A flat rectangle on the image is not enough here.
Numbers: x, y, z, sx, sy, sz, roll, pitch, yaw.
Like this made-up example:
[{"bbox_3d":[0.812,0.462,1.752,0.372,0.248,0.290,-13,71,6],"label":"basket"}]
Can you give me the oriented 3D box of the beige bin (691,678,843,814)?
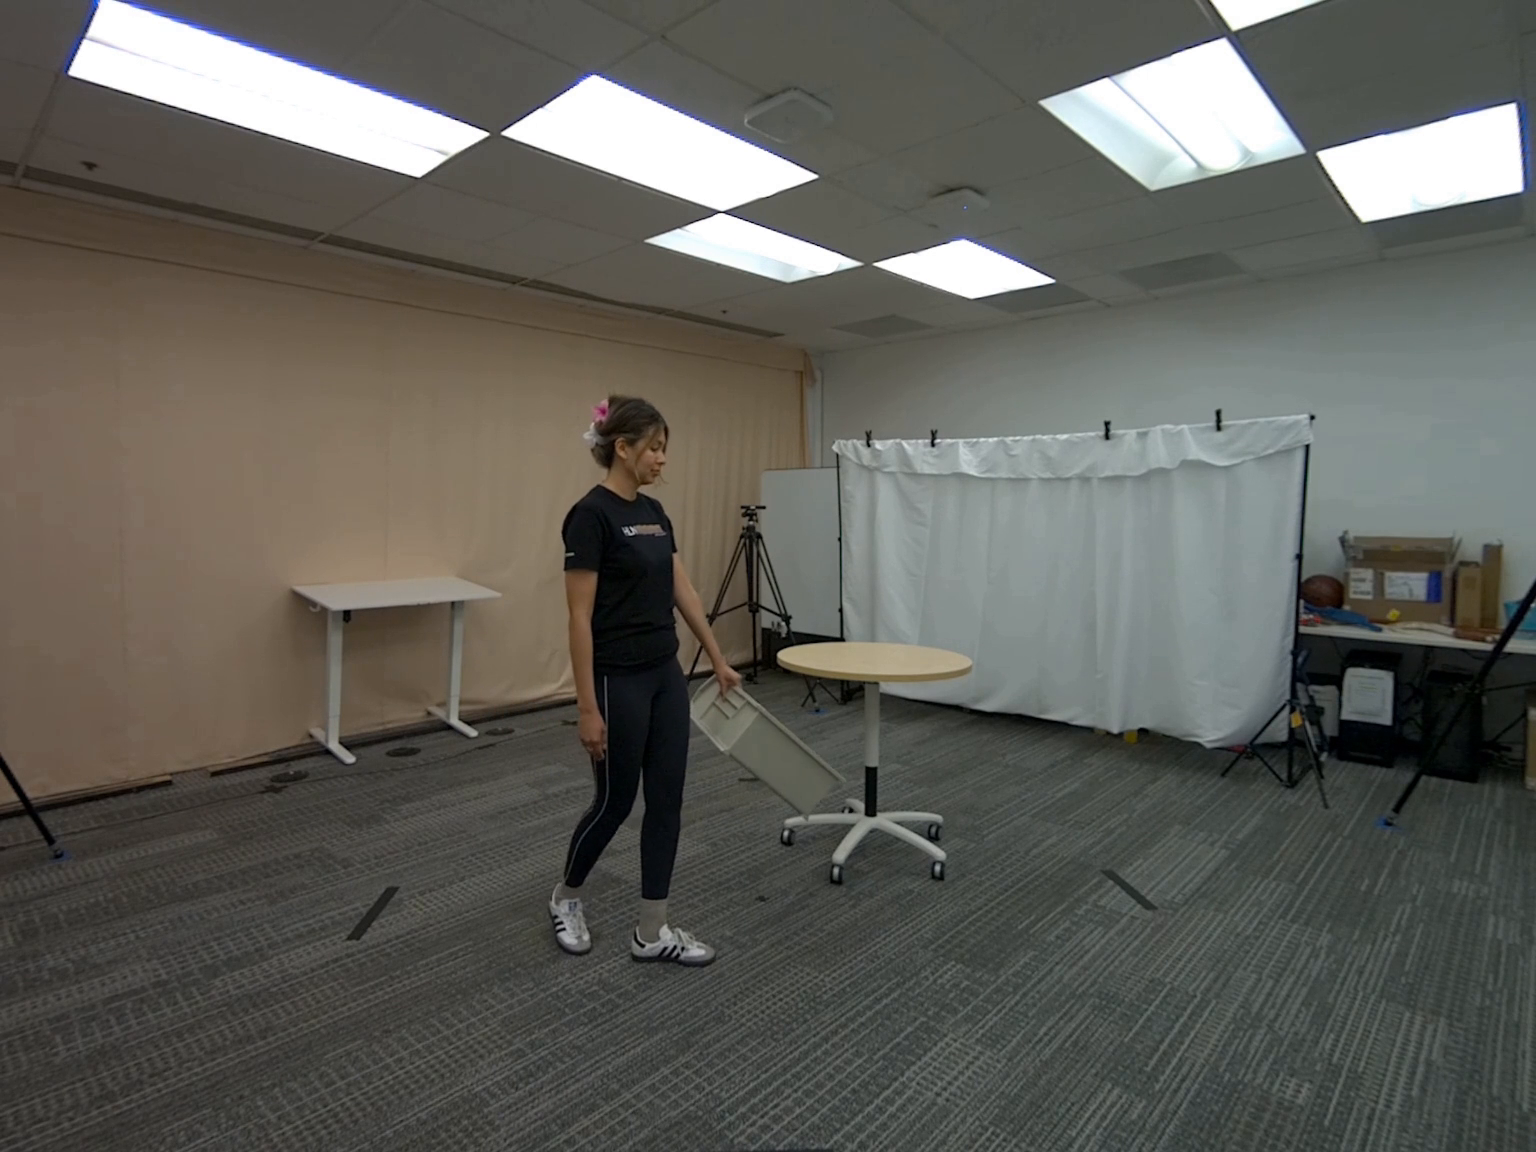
[{"bbox_3d":[-0.025,0.549,2.753,0.411,0.188,0.388,44,-7,-24],"label":"beige bin"}]
